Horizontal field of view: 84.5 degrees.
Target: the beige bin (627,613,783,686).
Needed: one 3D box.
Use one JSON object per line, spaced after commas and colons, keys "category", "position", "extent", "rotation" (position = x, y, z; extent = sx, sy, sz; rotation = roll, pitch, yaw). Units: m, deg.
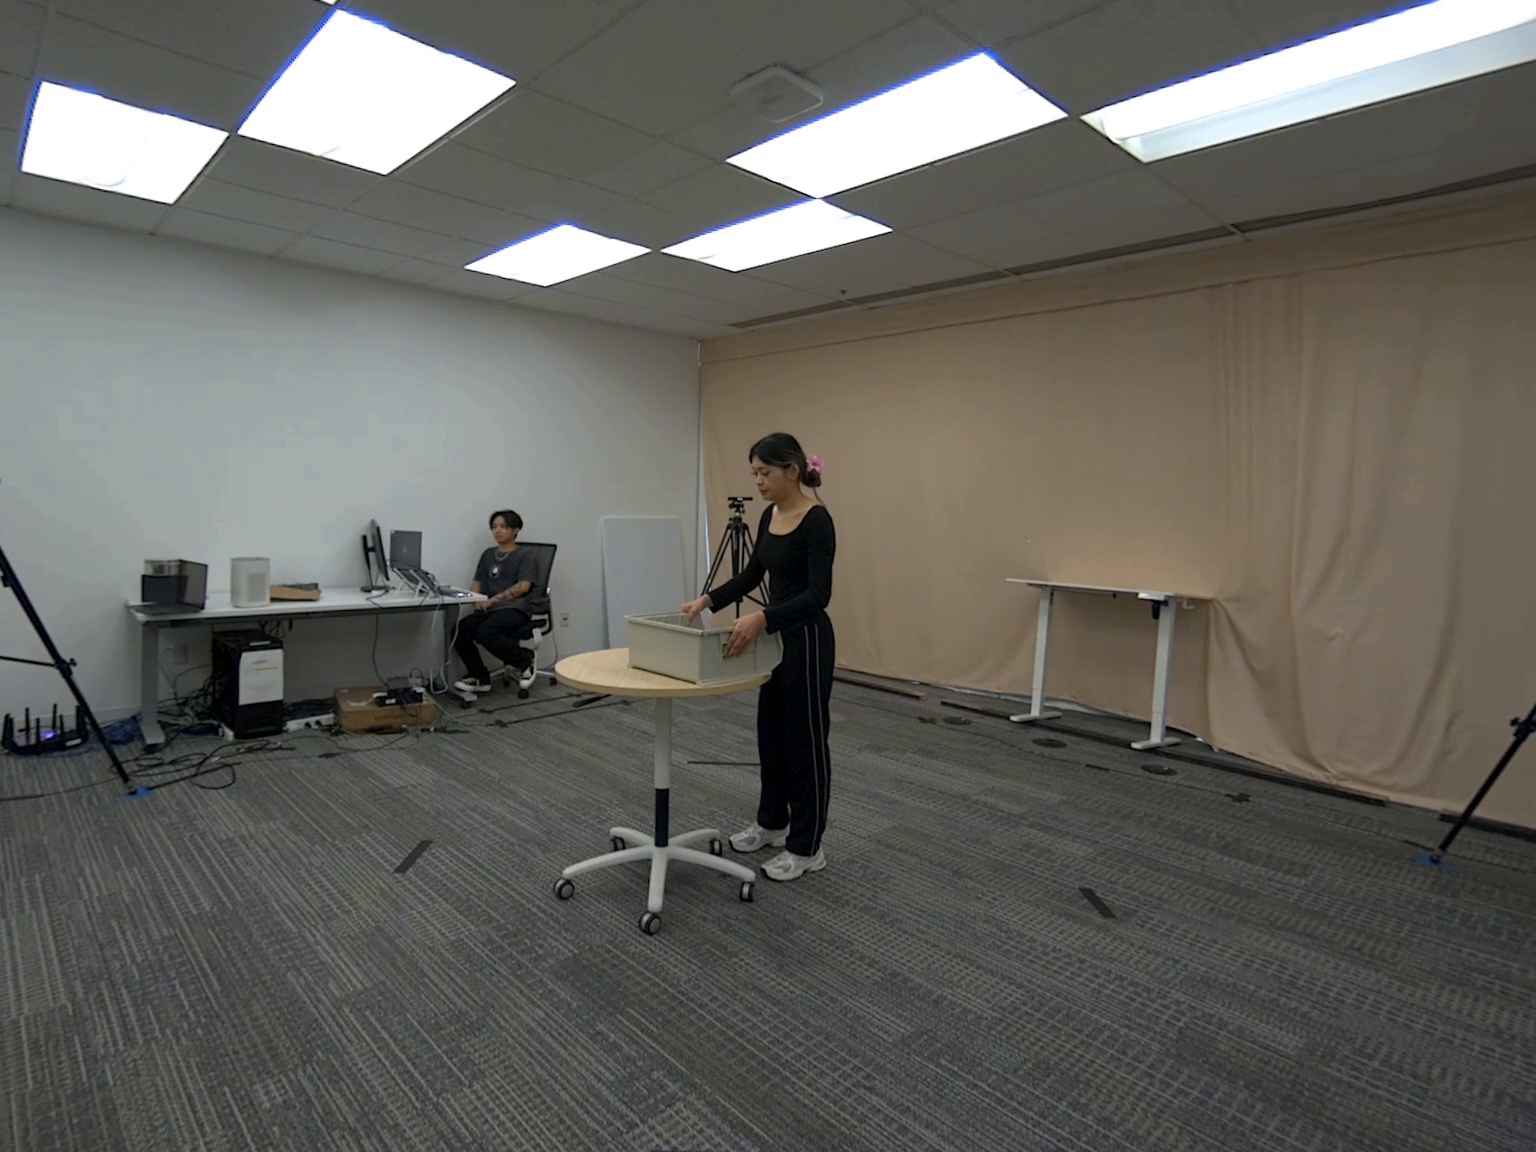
{"category": "beige bin", "position": [-0.229, 0.238, 2.918], "extent": [0.369, 0.188, 0.433], "rotation": [-7, 10, -42]}
